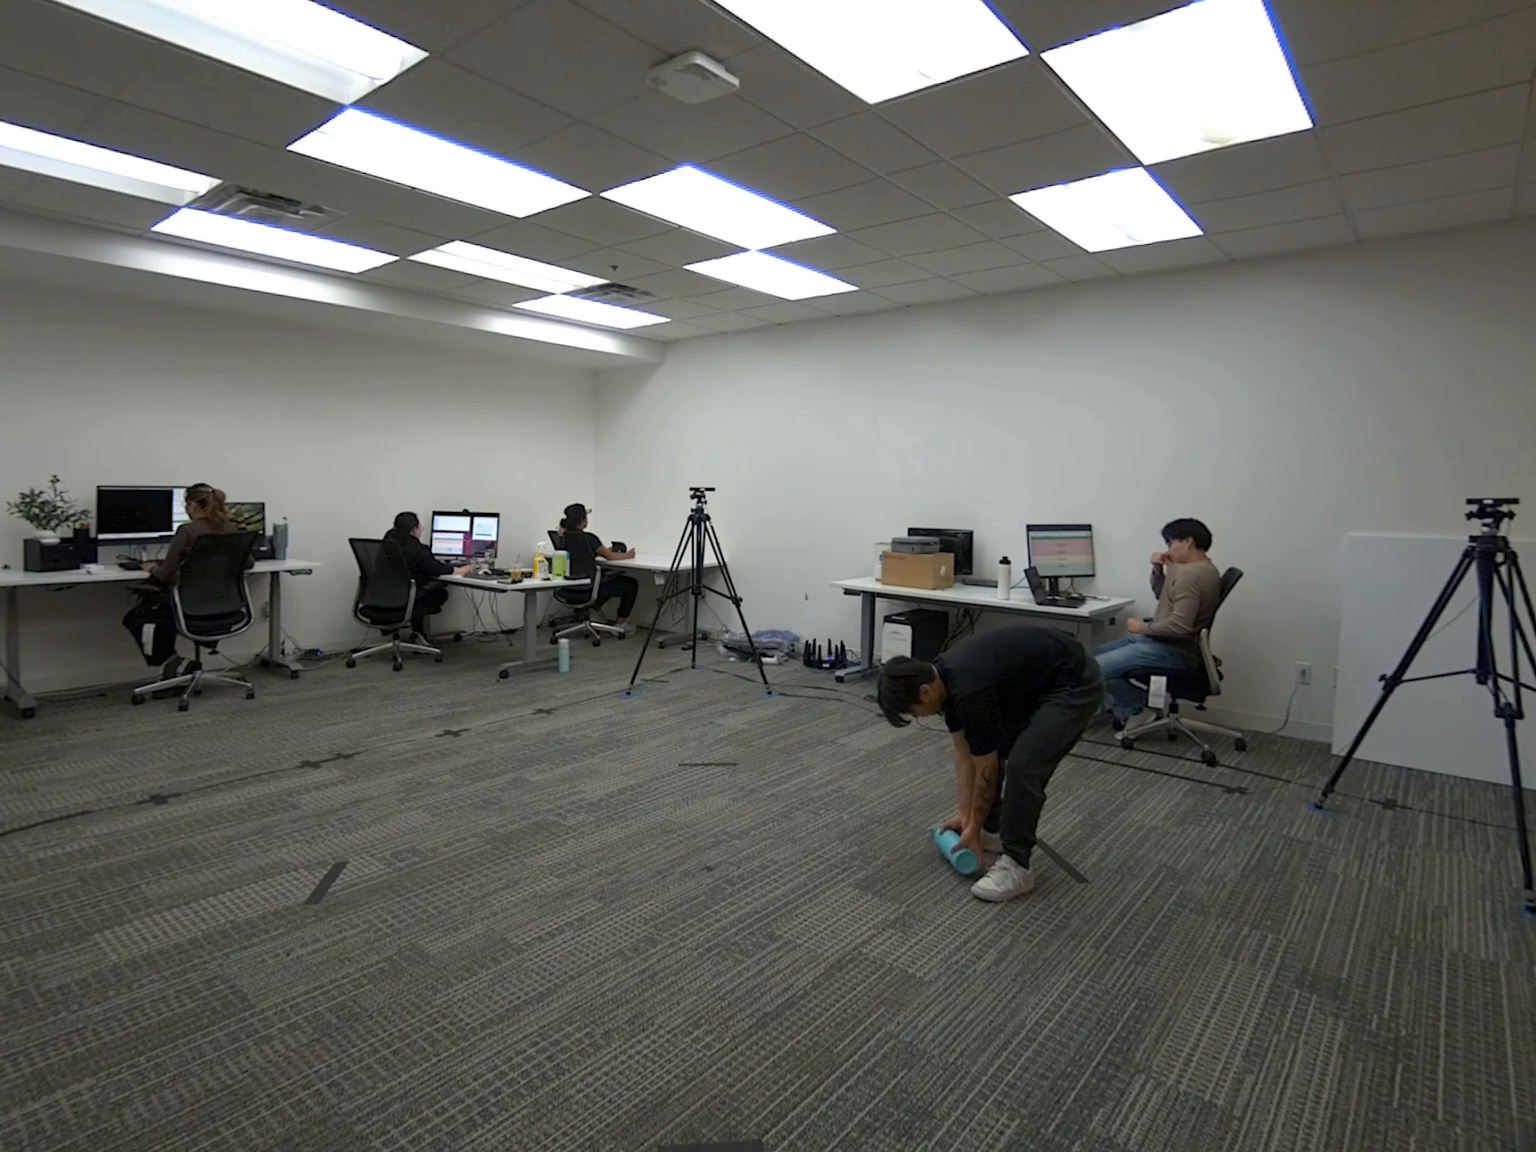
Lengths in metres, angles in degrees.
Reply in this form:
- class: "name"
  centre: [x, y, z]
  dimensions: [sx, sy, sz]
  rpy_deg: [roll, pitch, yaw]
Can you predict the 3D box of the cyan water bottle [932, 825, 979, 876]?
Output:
- class: "cyan water bottle"
  centre: [0.693, 1.017, 3.204]
  dimensions: [0.092, 0.092, 0.286]
  rpy_deg: [0, 5, -8]
